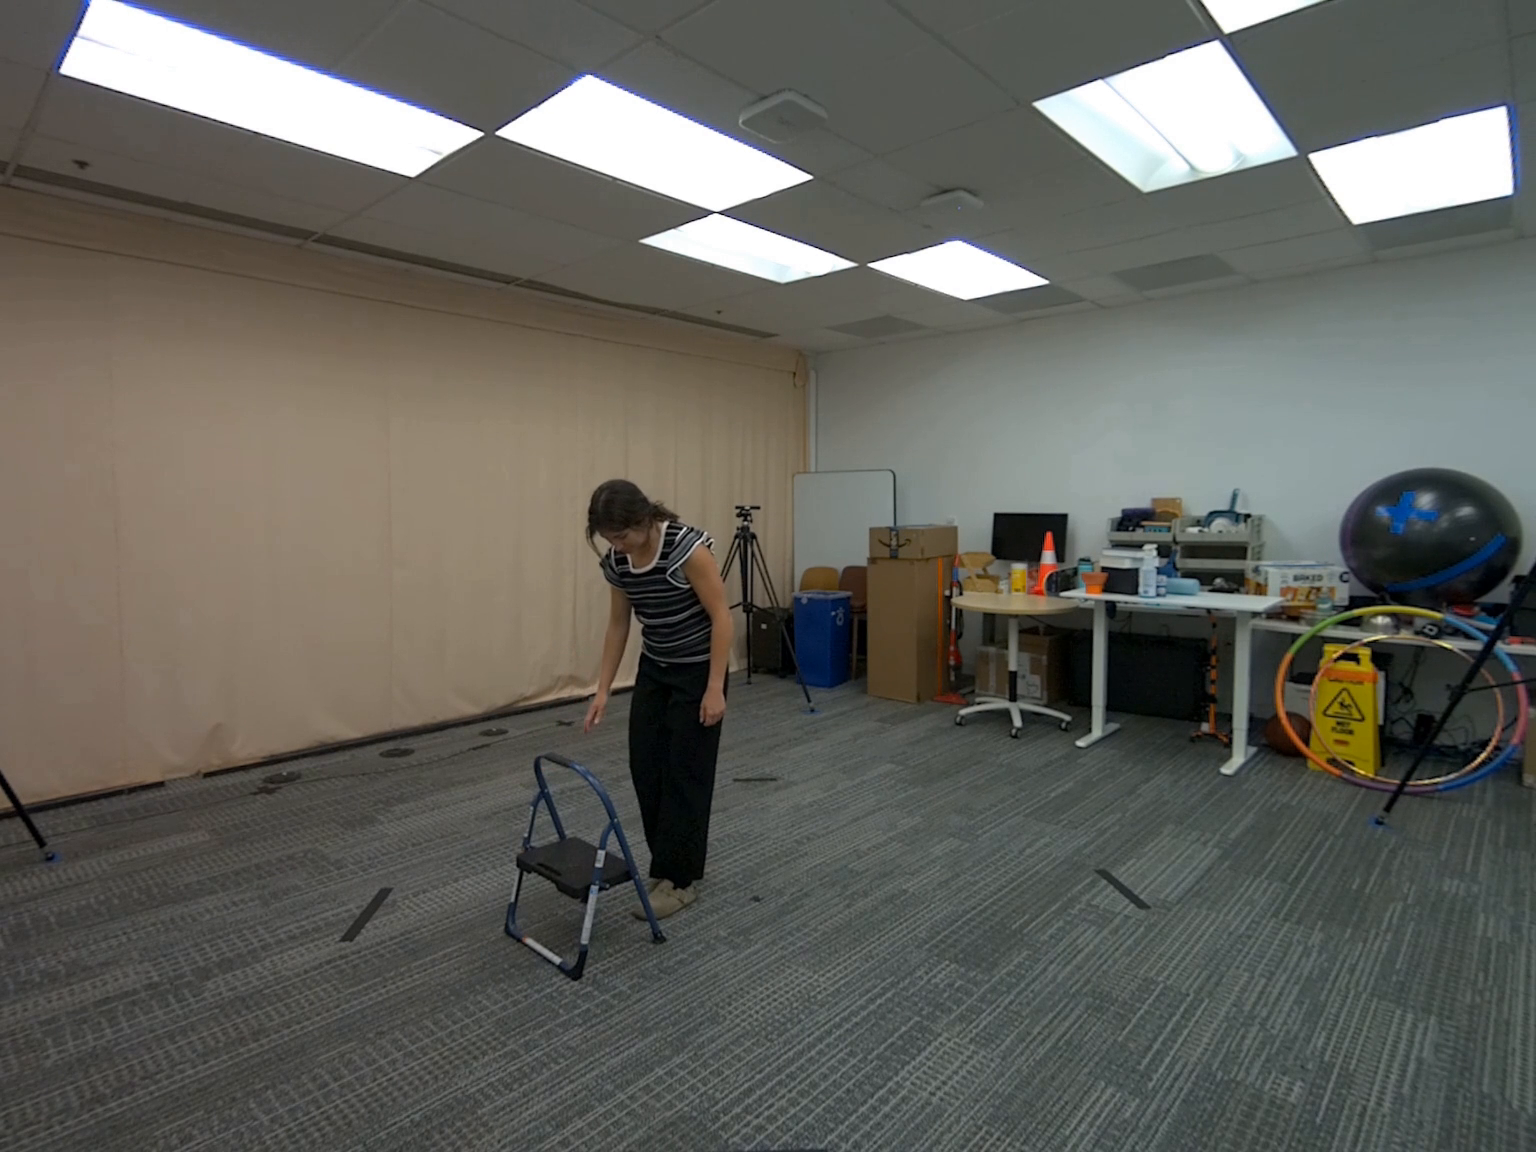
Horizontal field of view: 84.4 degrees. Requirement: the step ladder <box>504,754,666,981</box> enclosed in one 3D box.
[{"bbox_3d":[-0.601,0.870,2.714,0.445,0.605,0.338,2,4,44],"label":"step ladder"}]
